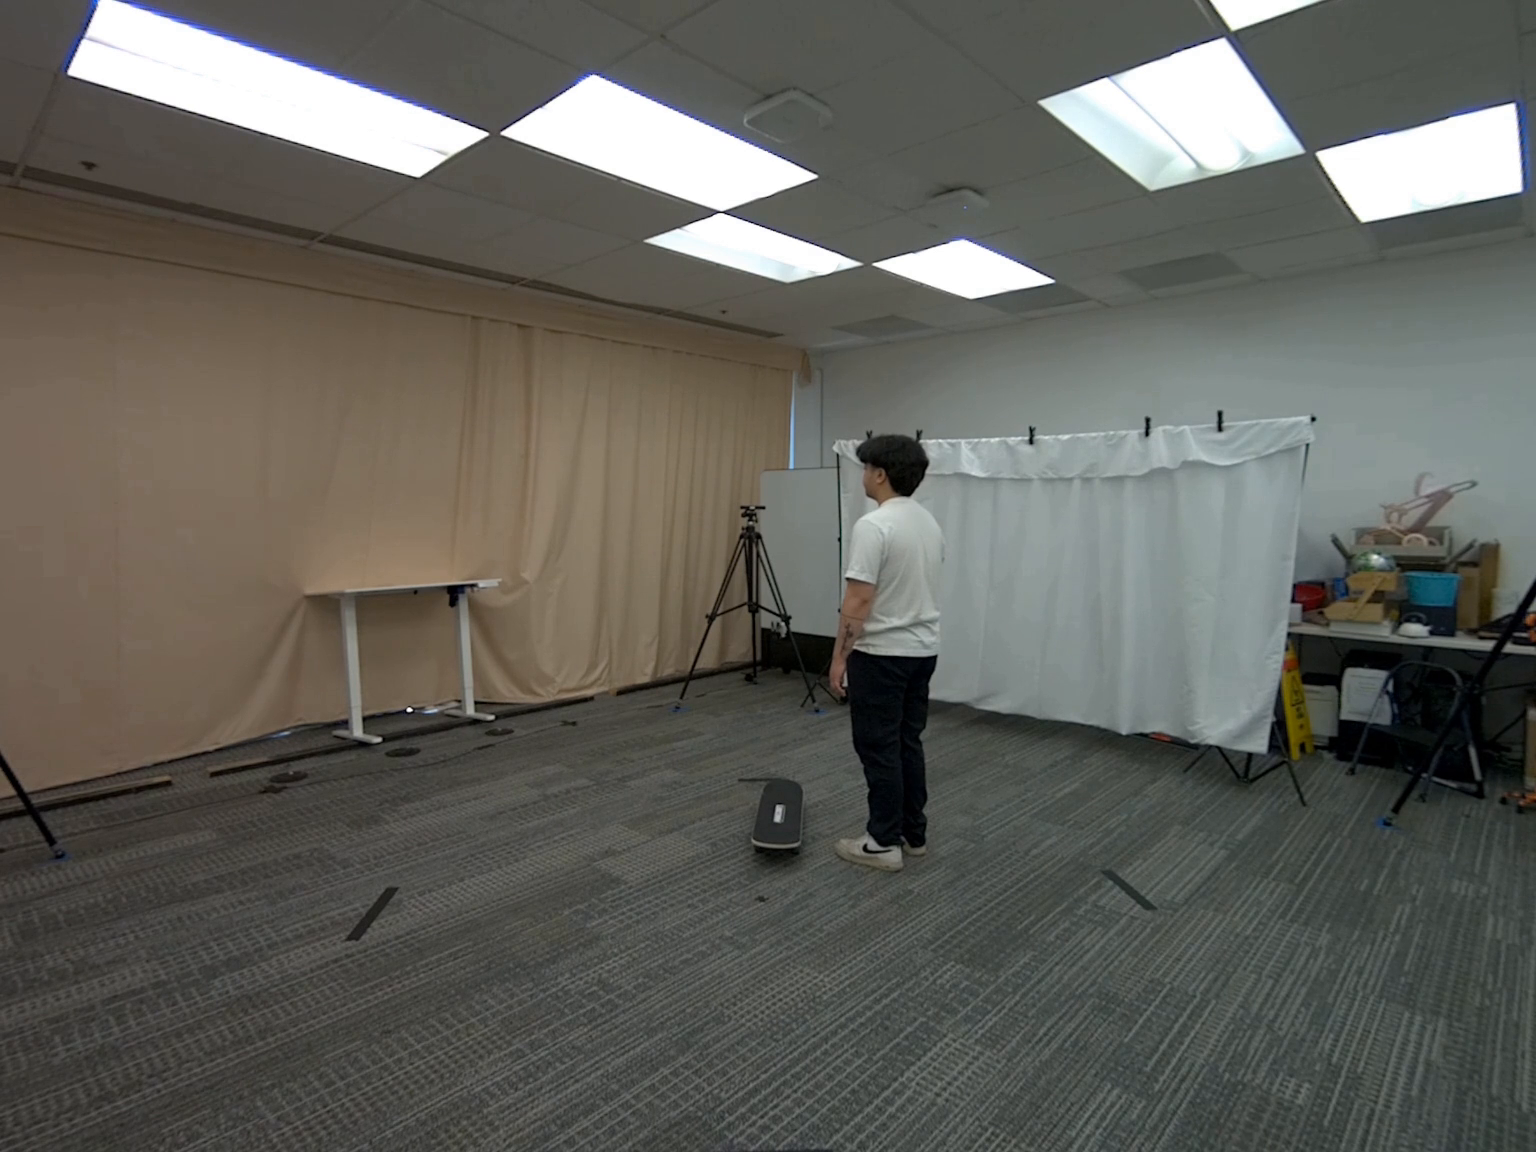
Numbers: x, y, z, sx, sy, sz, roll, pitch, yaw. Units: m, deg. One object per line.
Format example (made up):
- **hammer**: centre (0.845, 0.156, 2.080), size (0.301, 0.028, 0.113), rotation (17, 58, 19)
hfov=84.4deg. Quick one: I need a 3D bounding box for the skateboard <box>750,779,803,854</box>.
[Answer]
- **skateboard**: centre (0.050, 1.037, 3.571), size (0.195, 0.110, 0.782), rotation (0, 5, 4)
